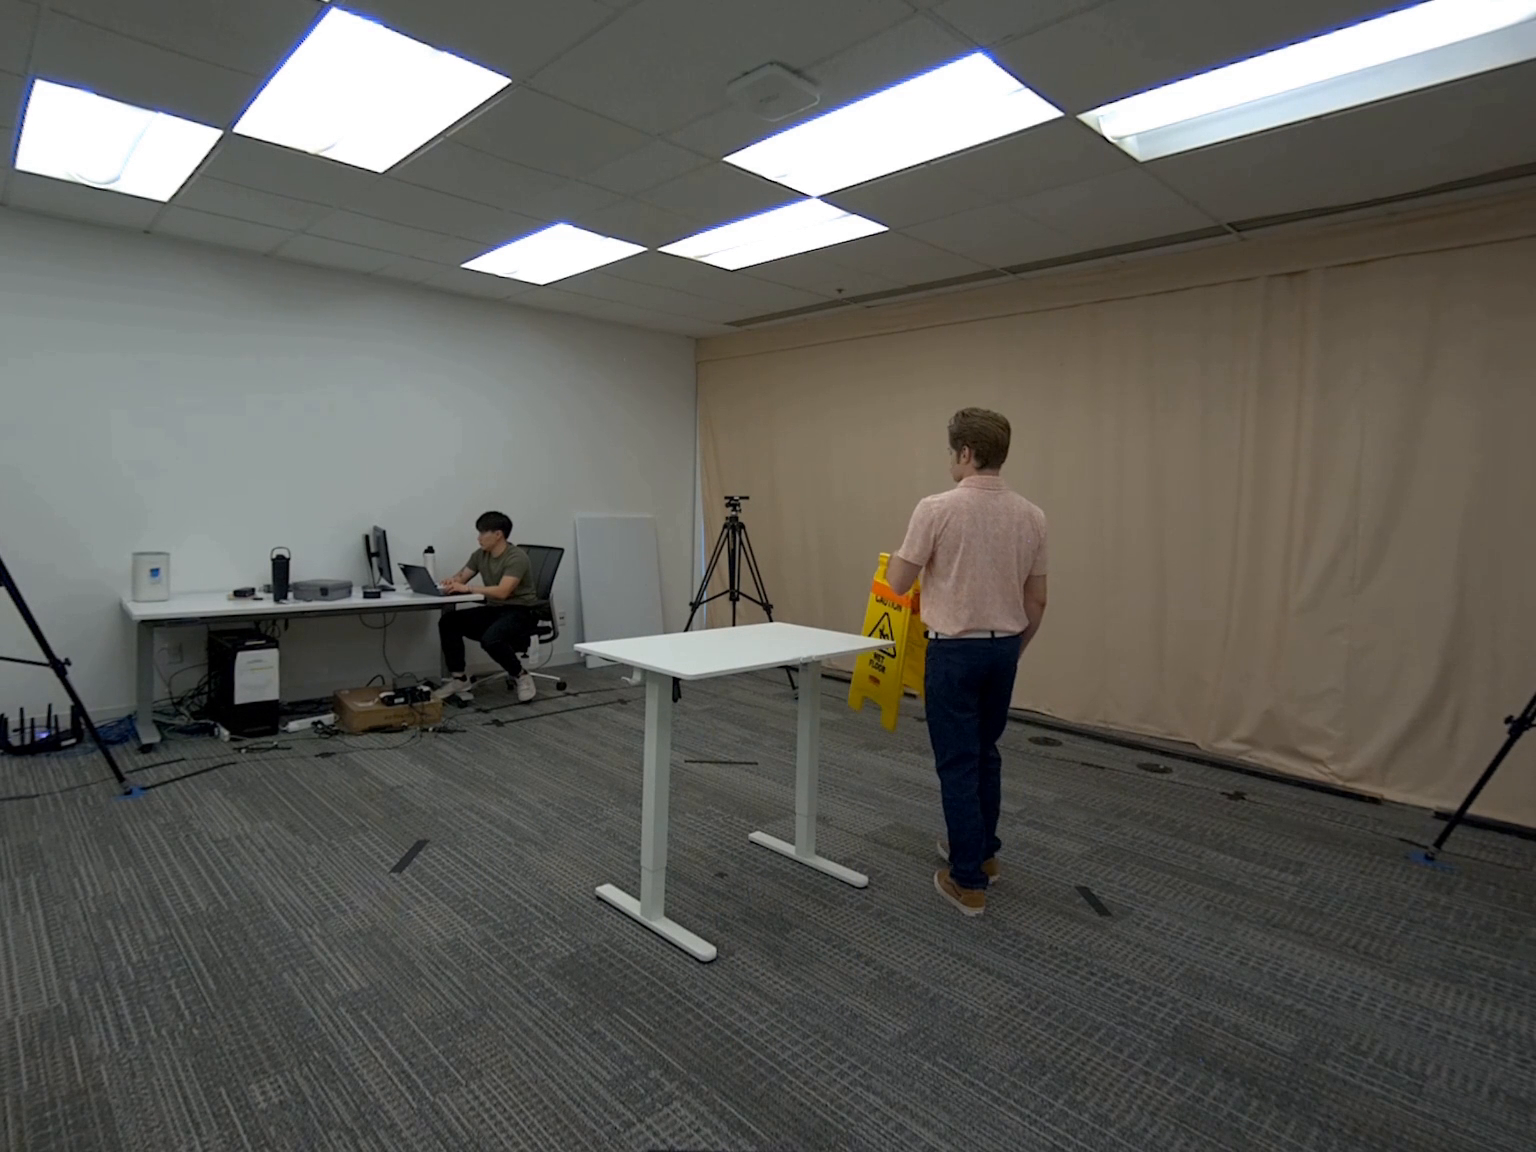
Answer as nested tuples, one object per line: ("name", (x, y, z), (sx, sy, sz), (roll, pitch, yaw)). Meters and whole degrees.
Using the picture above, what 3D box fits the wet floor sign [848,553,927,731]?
("wet floor sign", (0.503, 0.236, 3.346), (0.285, 0.638, 0.290), (-9, 19, -31))
